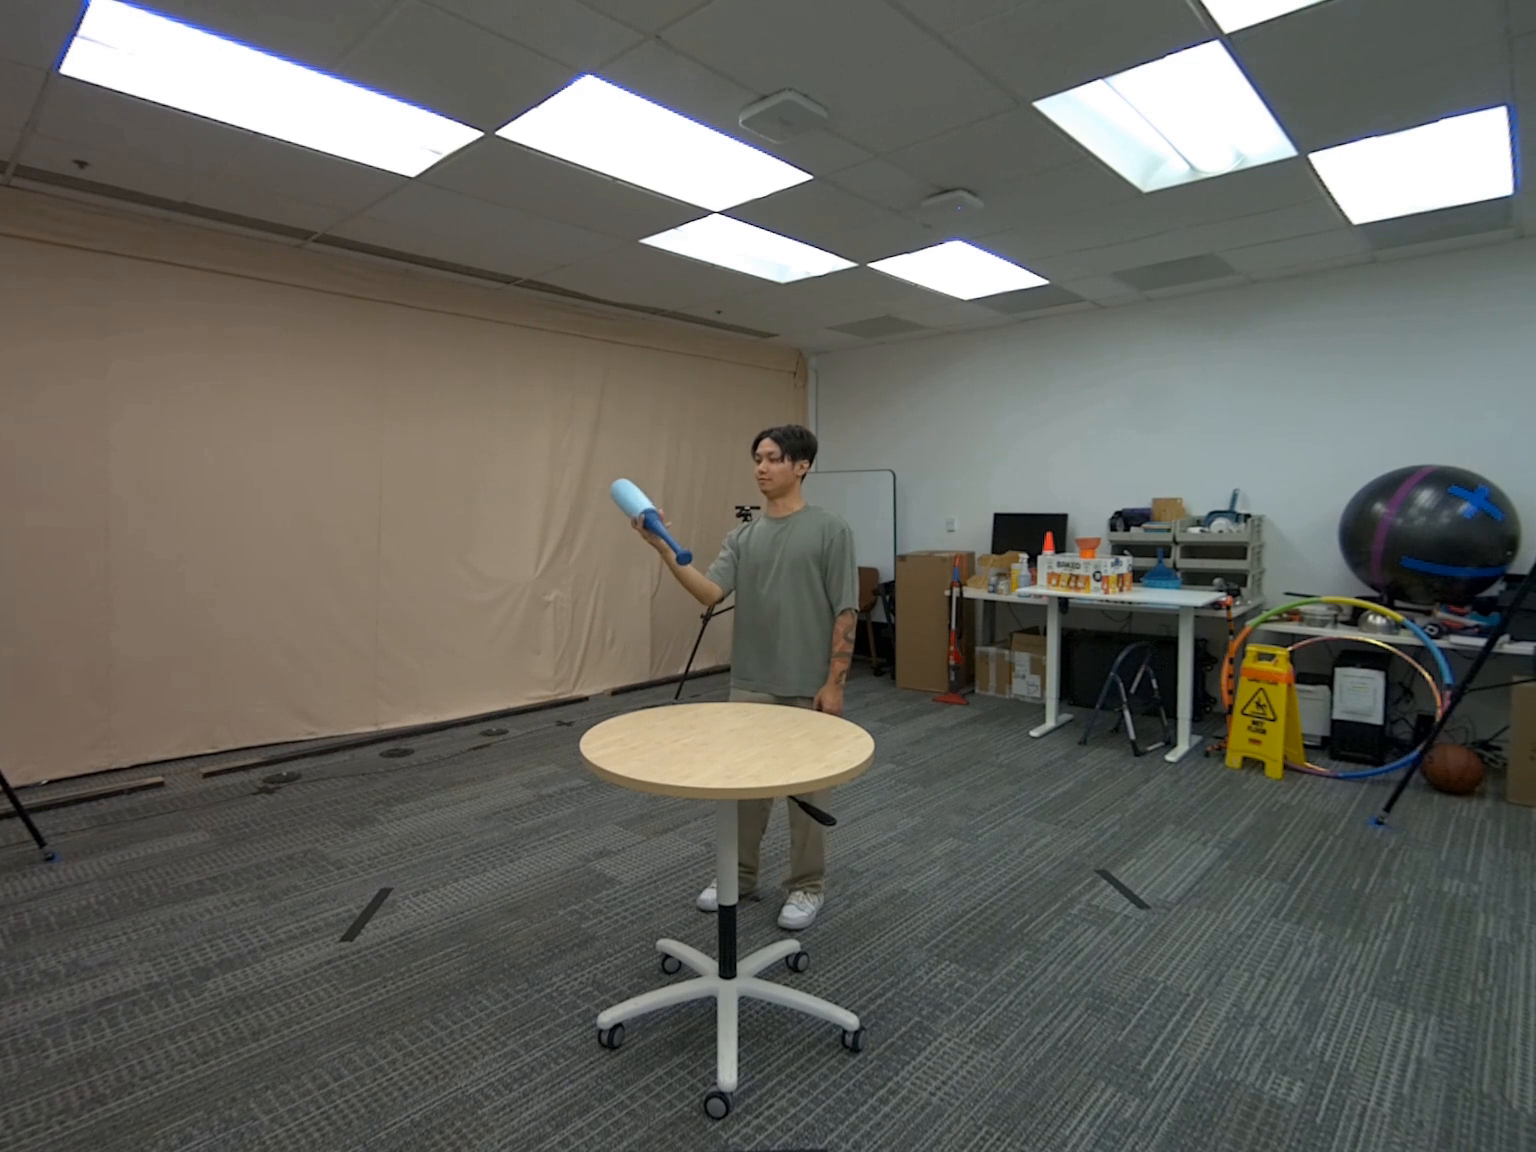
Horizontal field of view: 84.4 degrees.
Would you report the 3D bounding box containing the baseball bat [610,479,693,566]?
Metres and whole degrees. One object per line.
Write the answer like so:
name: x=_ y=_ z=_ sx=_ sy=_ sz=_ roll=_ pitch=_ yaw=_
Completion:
baseball bat: x=-0.352 y=-0.167 z=2.616 sx=0.087 sy=0.088 sz=0.562 roll=-2 pitch=28 yaw=-29
